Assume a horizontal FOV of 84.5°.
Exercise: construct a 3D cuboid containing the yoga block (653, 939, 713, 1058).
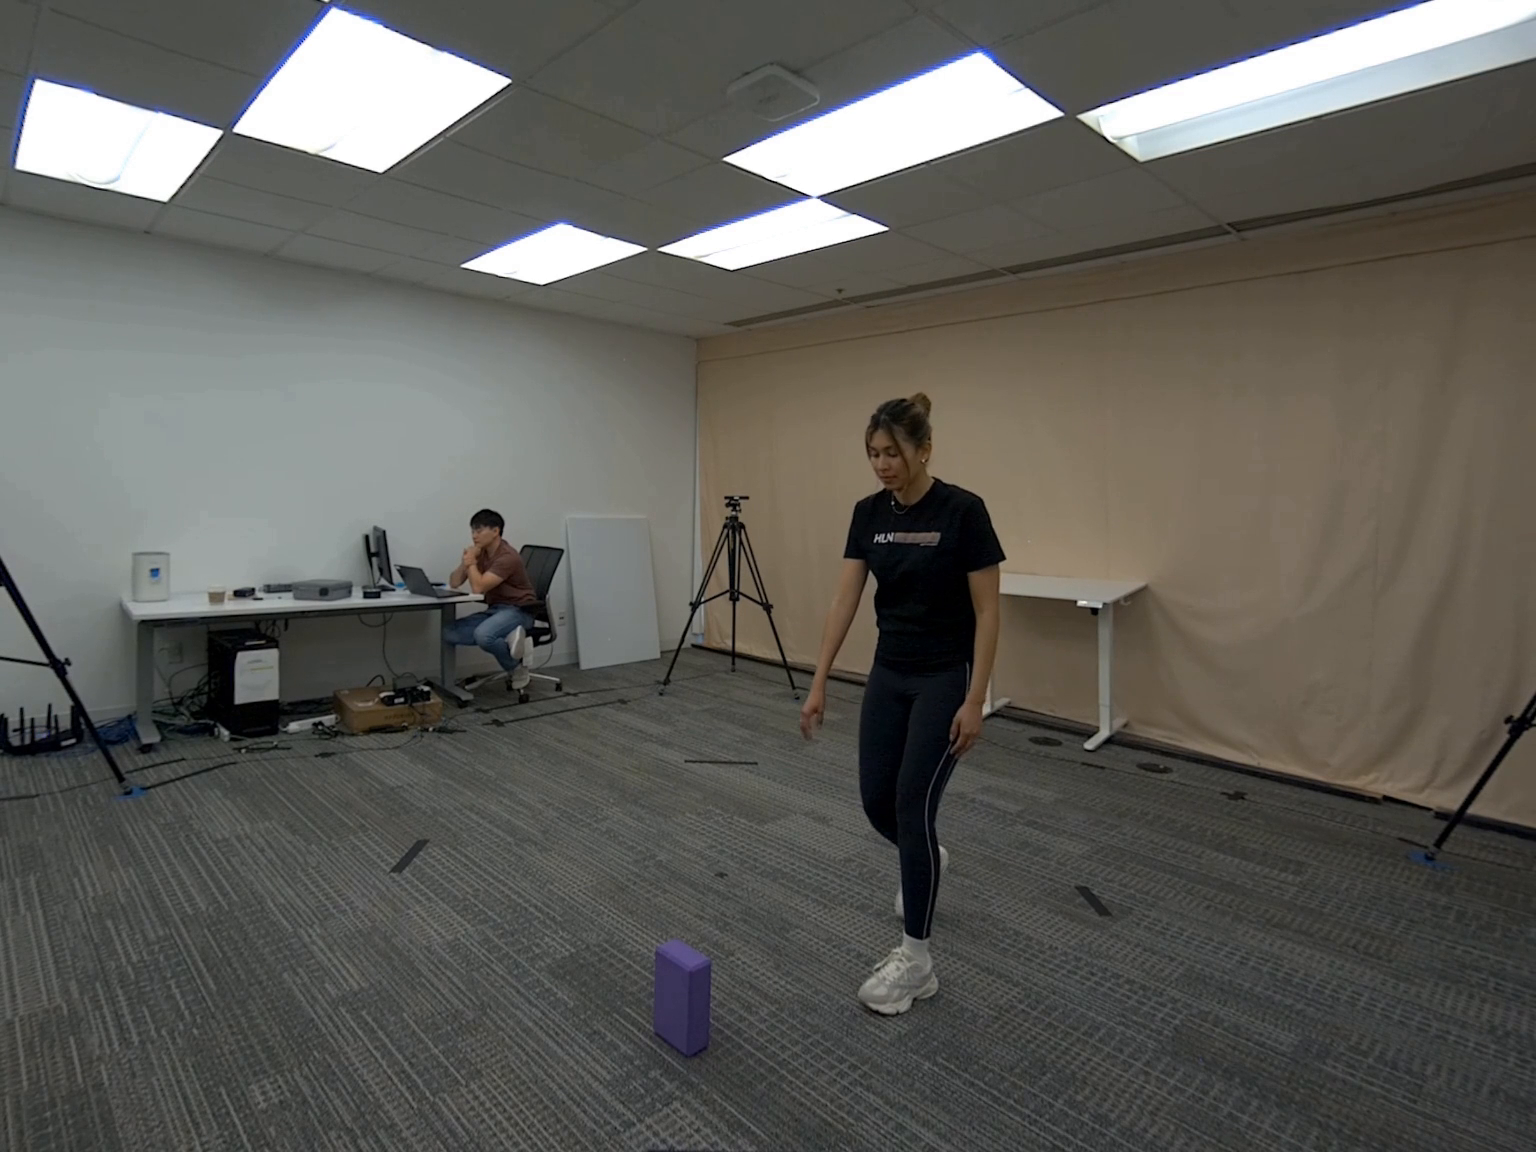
[{"bbox_3d":[-0.224,1.076,2.144,0.153,0.229,0.074,4,2,43],"label":"yoga block"}]
